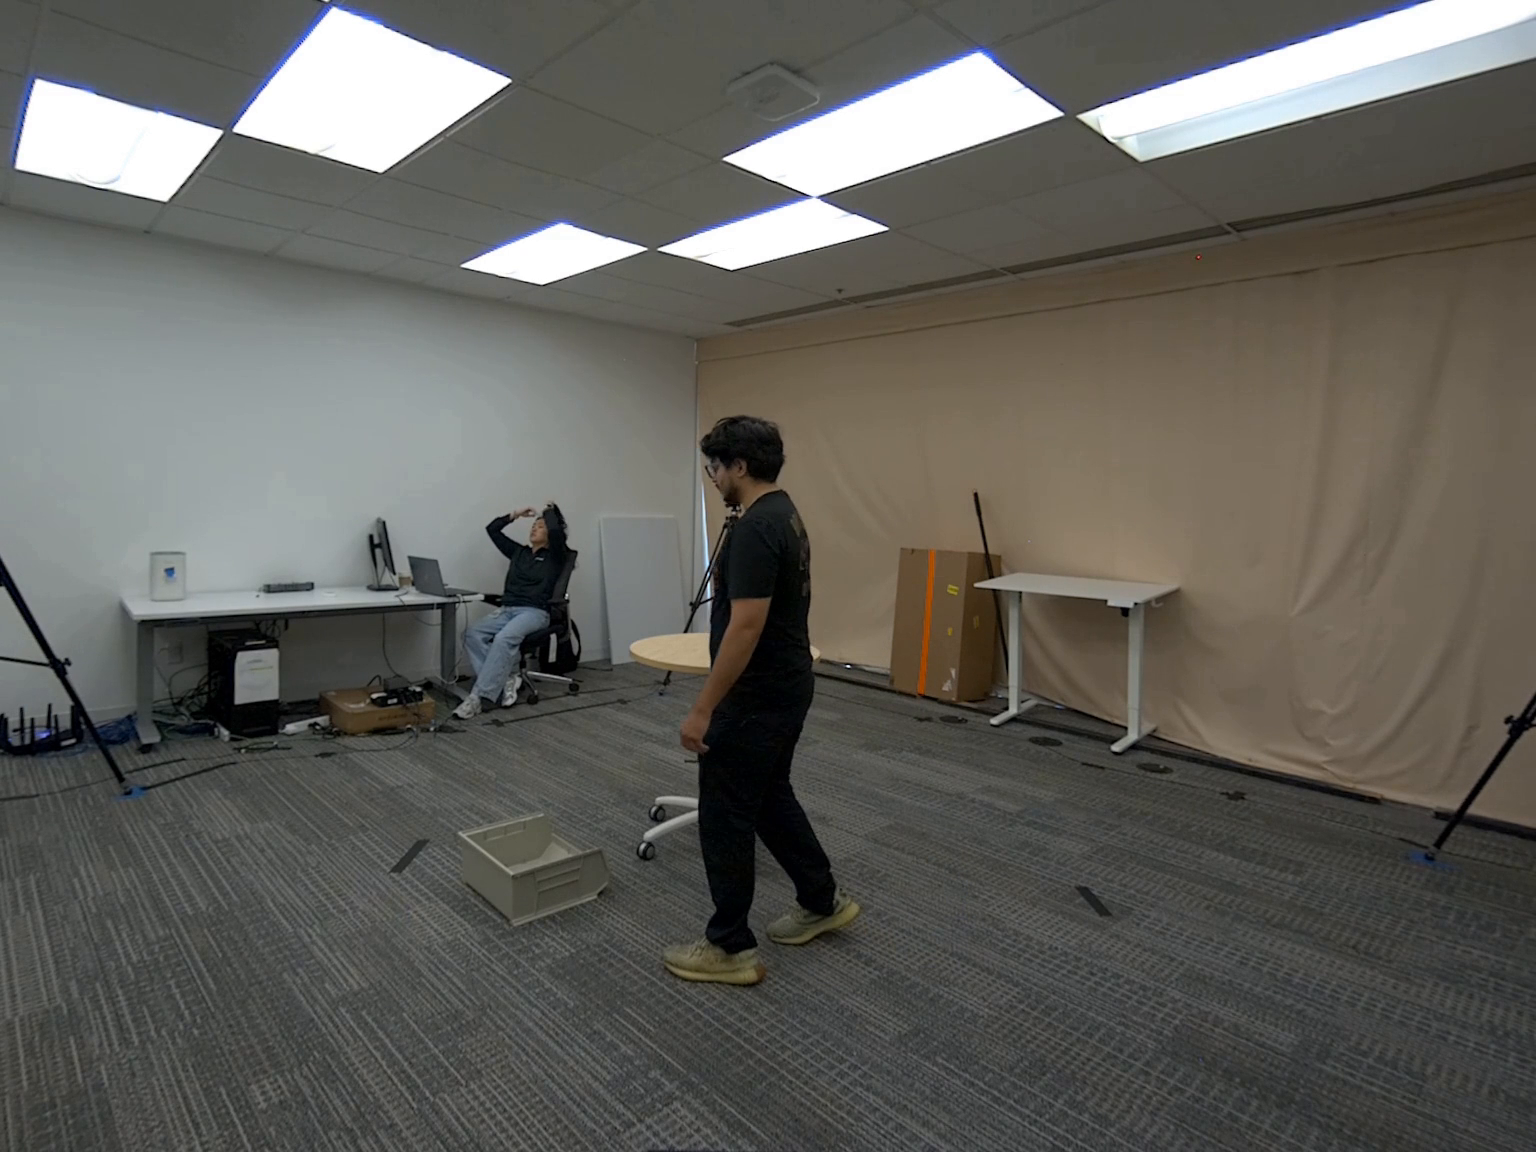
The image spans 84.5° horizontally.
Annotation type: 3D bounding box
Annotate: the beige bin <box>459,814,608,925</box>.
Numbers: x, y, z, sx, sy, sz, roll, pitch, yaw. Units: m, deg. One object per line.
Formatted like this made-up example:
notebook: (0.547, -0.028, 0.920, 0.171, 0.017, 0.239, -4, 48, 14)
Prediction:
beige bin: (-0.829, 1.014, 2.962, 0.369, 0.188, 0.433, -4, 8, -42)
